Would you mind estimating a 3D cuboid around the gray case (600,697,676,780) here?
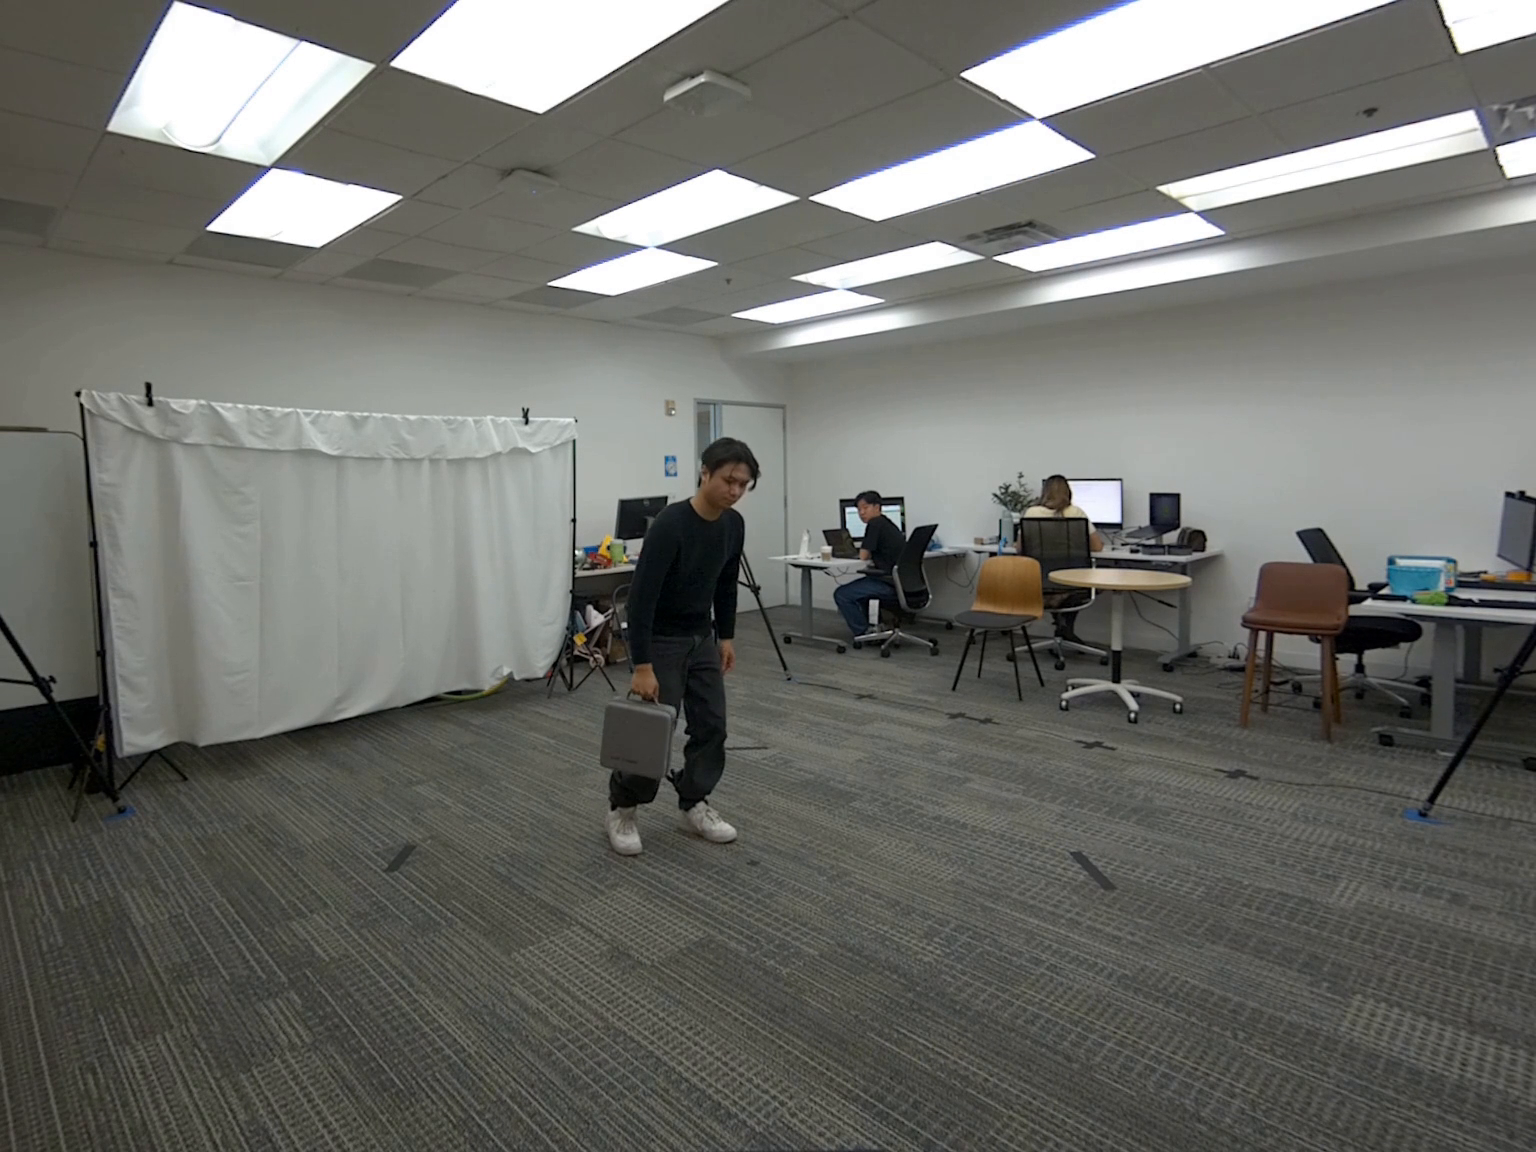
[{"bbox_3d":[-0.470,0.578,3.079,0.260,0.259,0.104,7,9,11],"label":"gray case"}]
